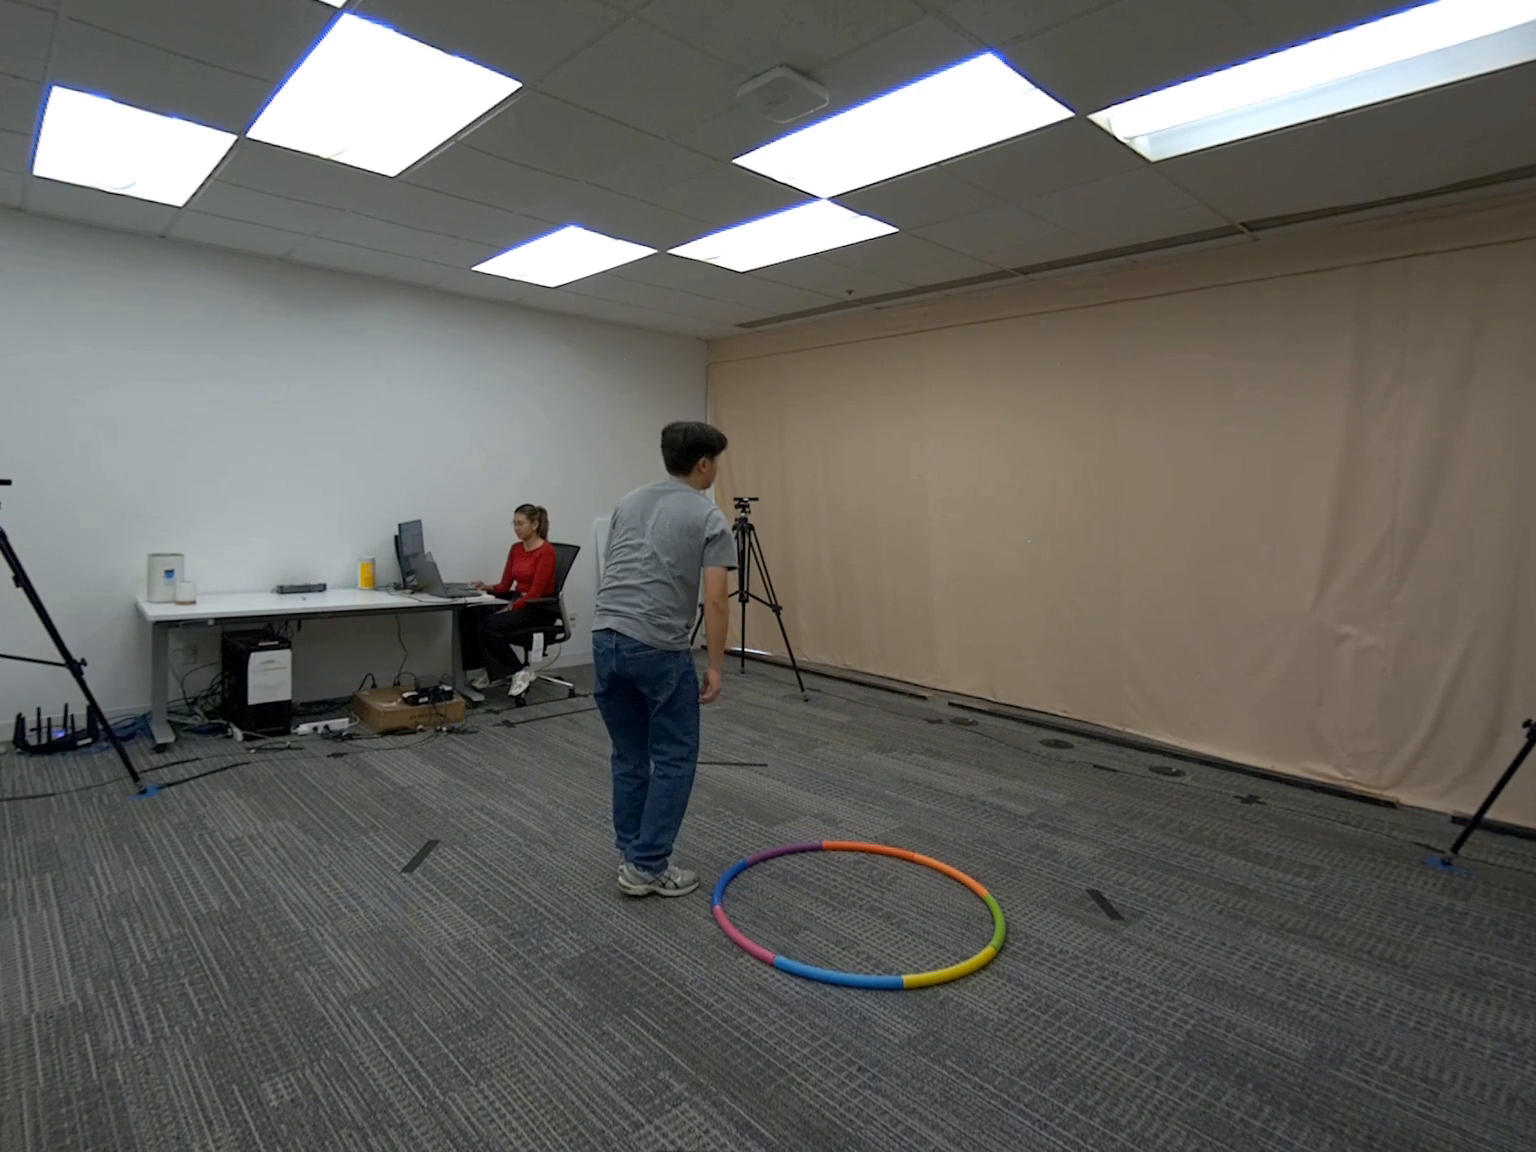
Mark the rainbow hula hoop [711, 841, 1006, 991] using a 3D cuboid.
[{"bbox_3d":[0.282,1.103,2.890,0.978,0.035,0.982,2,5,-1],"label":"rainbow hula hoop"}]
